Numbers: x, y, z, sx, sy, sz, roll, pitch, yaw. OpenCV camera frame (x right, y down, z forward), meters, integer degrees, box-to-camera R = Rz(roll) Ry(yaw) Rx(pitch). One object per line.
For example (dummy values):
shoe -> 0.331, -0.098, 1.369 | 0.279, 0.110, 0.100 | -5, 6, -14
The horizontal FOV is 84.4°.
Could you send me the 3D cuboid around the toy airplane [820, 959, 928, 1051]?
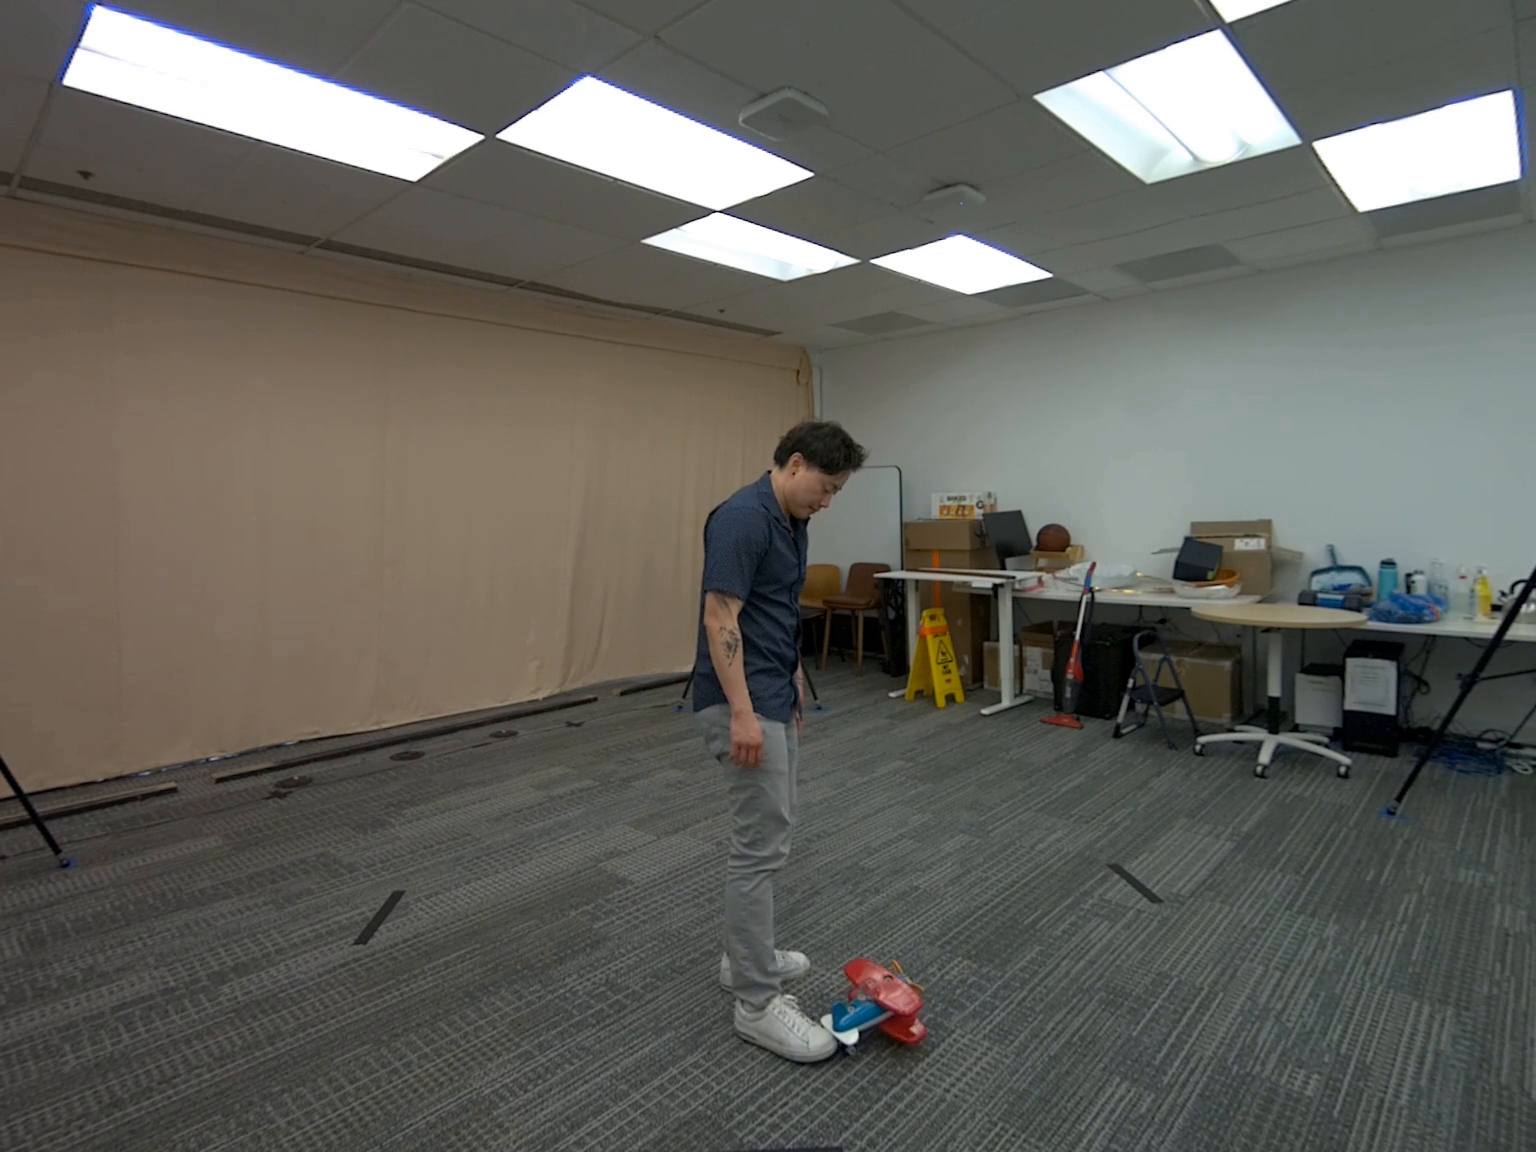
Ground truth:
toy airplane -> 0.287, 1.130, 2.157 | 0.258, 0.156, 0.252 | 5, 3, 30
